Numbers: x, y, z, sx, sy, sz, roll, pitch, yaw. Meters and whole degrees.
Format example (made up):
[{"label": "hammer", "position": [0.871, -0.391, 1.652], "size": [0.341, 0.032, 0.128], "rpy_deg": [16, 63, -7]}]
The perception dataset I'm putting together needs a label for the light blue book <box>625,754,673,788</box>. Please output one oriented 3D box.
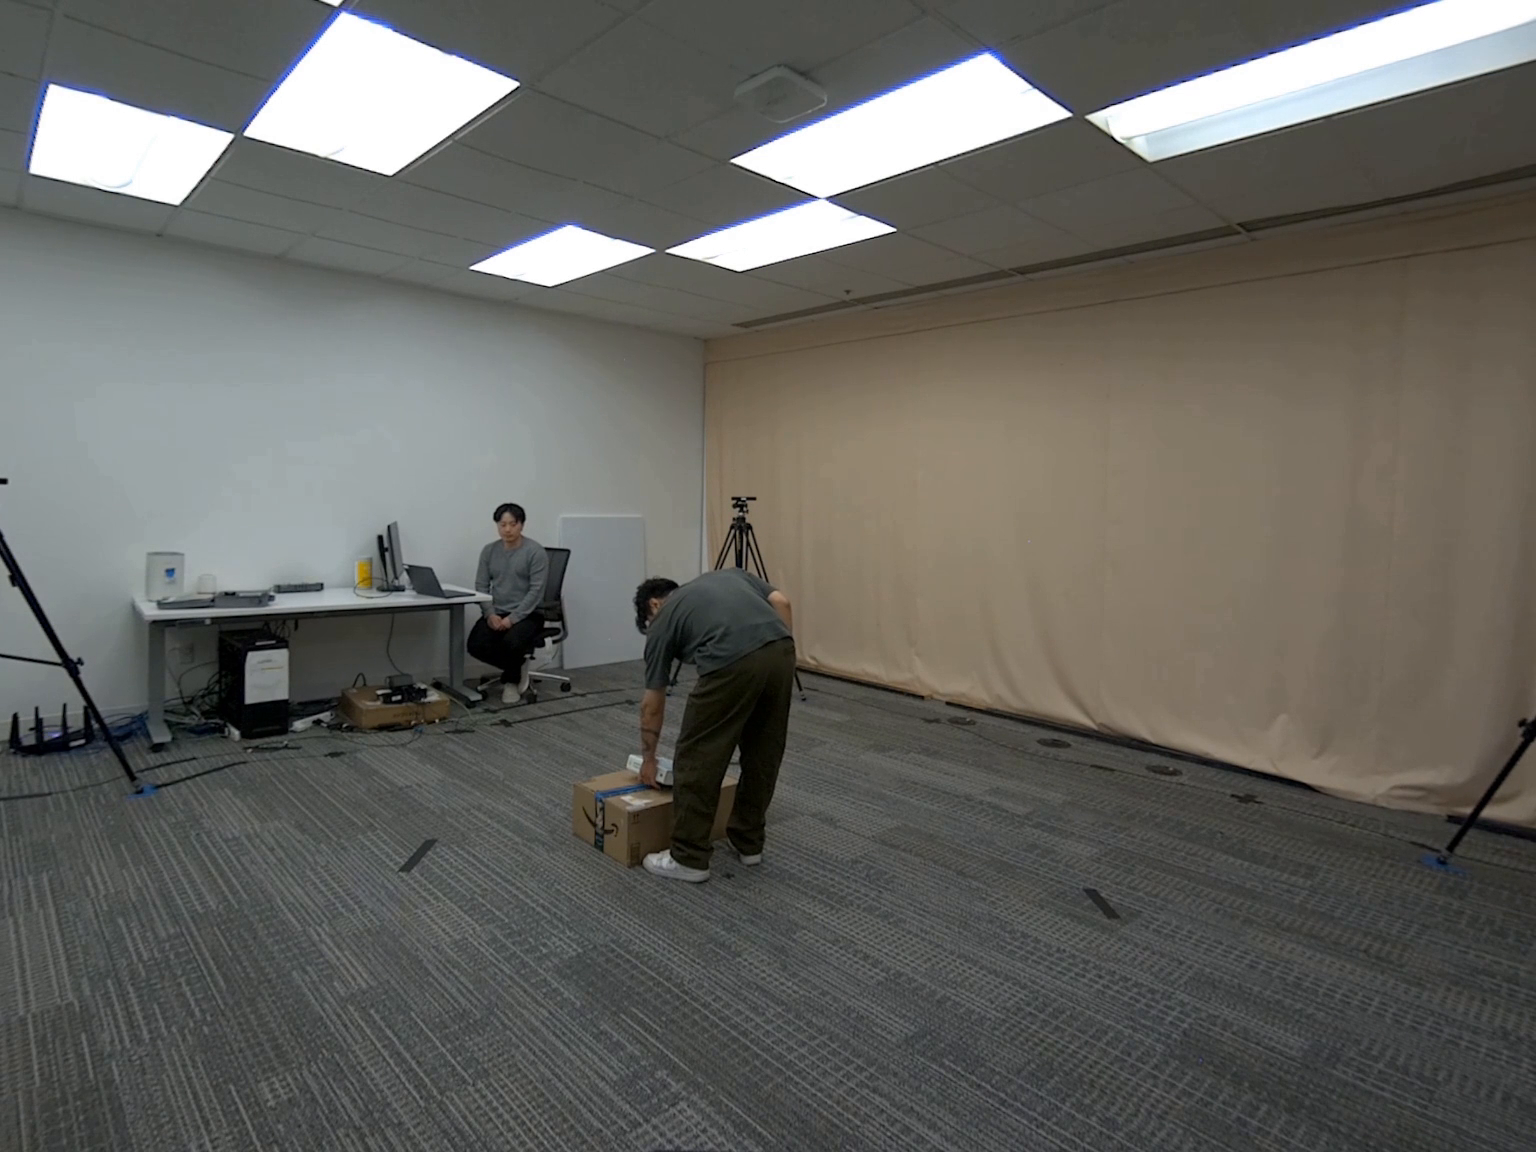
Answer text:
[{"label": "light blue book", "position": [-0.436, 0.803, 3.499], "size": [0.186, 0.059, 0.268], "rpy_deg": [16, -7, -43]}]
